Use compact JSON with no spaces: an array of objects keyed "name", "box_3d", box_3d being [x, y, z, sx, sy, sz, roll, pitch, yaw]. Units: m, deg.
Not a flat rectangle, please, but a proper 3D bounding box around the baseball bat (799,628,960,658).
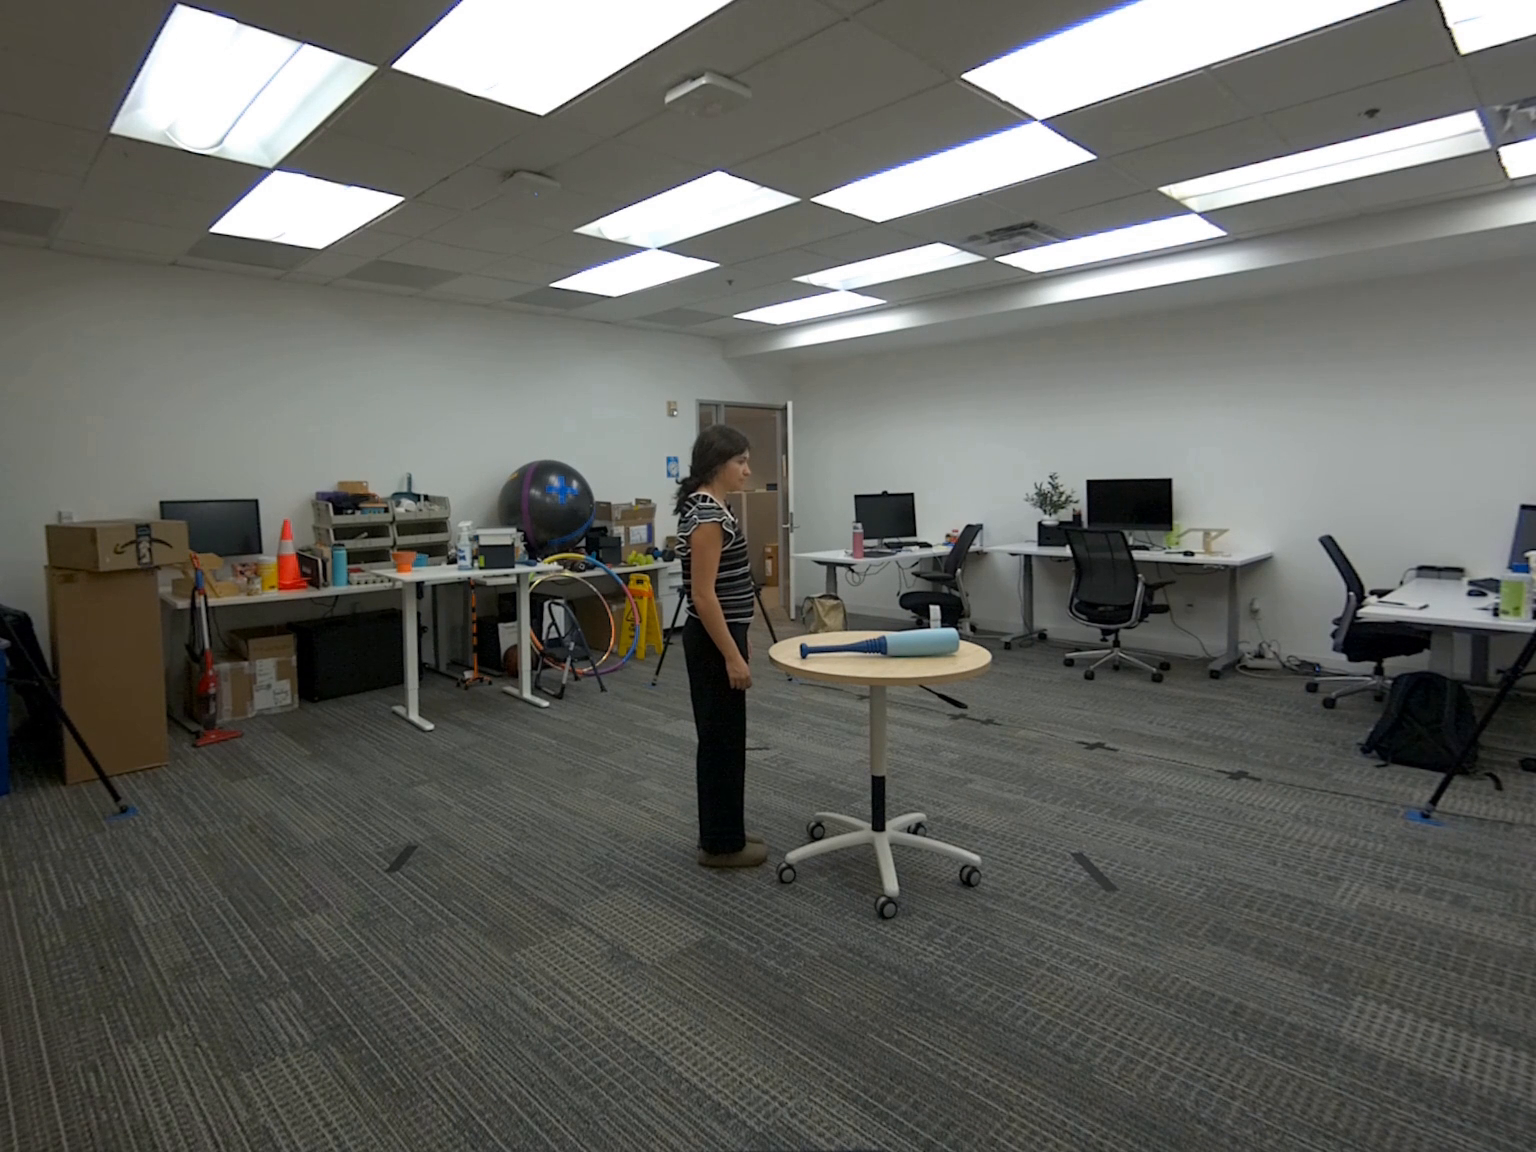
[{"name":"baseball bat","box_3d":[0.375,0.238,2.914,0.541,0.089,0.090,-4,5,-4]}]
